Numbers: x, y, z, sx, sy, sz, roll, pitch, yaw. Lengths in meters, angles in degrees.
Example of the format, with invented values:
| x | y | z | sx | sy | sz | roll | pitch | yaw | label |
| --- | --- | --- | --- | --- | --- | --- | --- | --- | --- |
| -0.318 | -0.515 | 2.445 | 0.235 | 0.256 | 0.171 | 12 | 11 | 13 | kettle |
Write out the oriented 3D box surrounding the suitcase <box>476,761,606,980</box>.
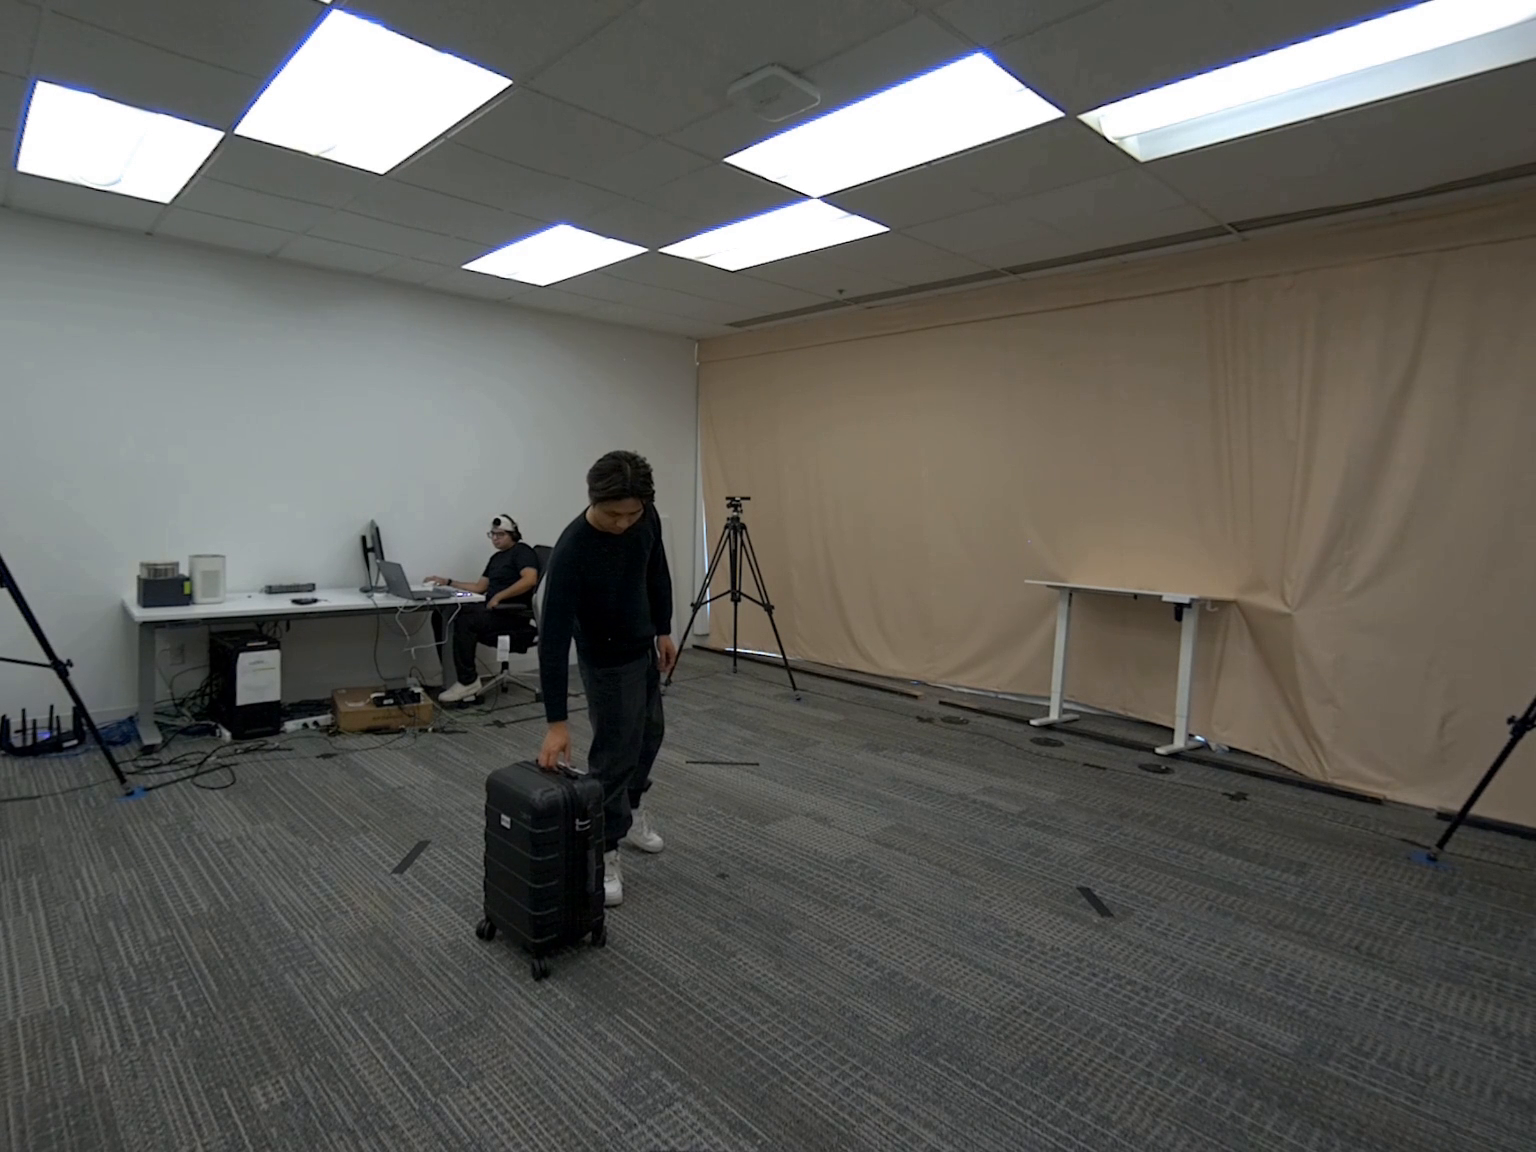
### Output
| x | y | z | sx | sy | sz | roll | pitch | yaw | label |
| --- | --- | --- | --- | --- | --- | --- | --- | --- | --- |
| -0.707 | 0.867 | 2.601 | 0.242 | 0.548 | 0.385 | -2 | 5 | -44 | suitcase |
